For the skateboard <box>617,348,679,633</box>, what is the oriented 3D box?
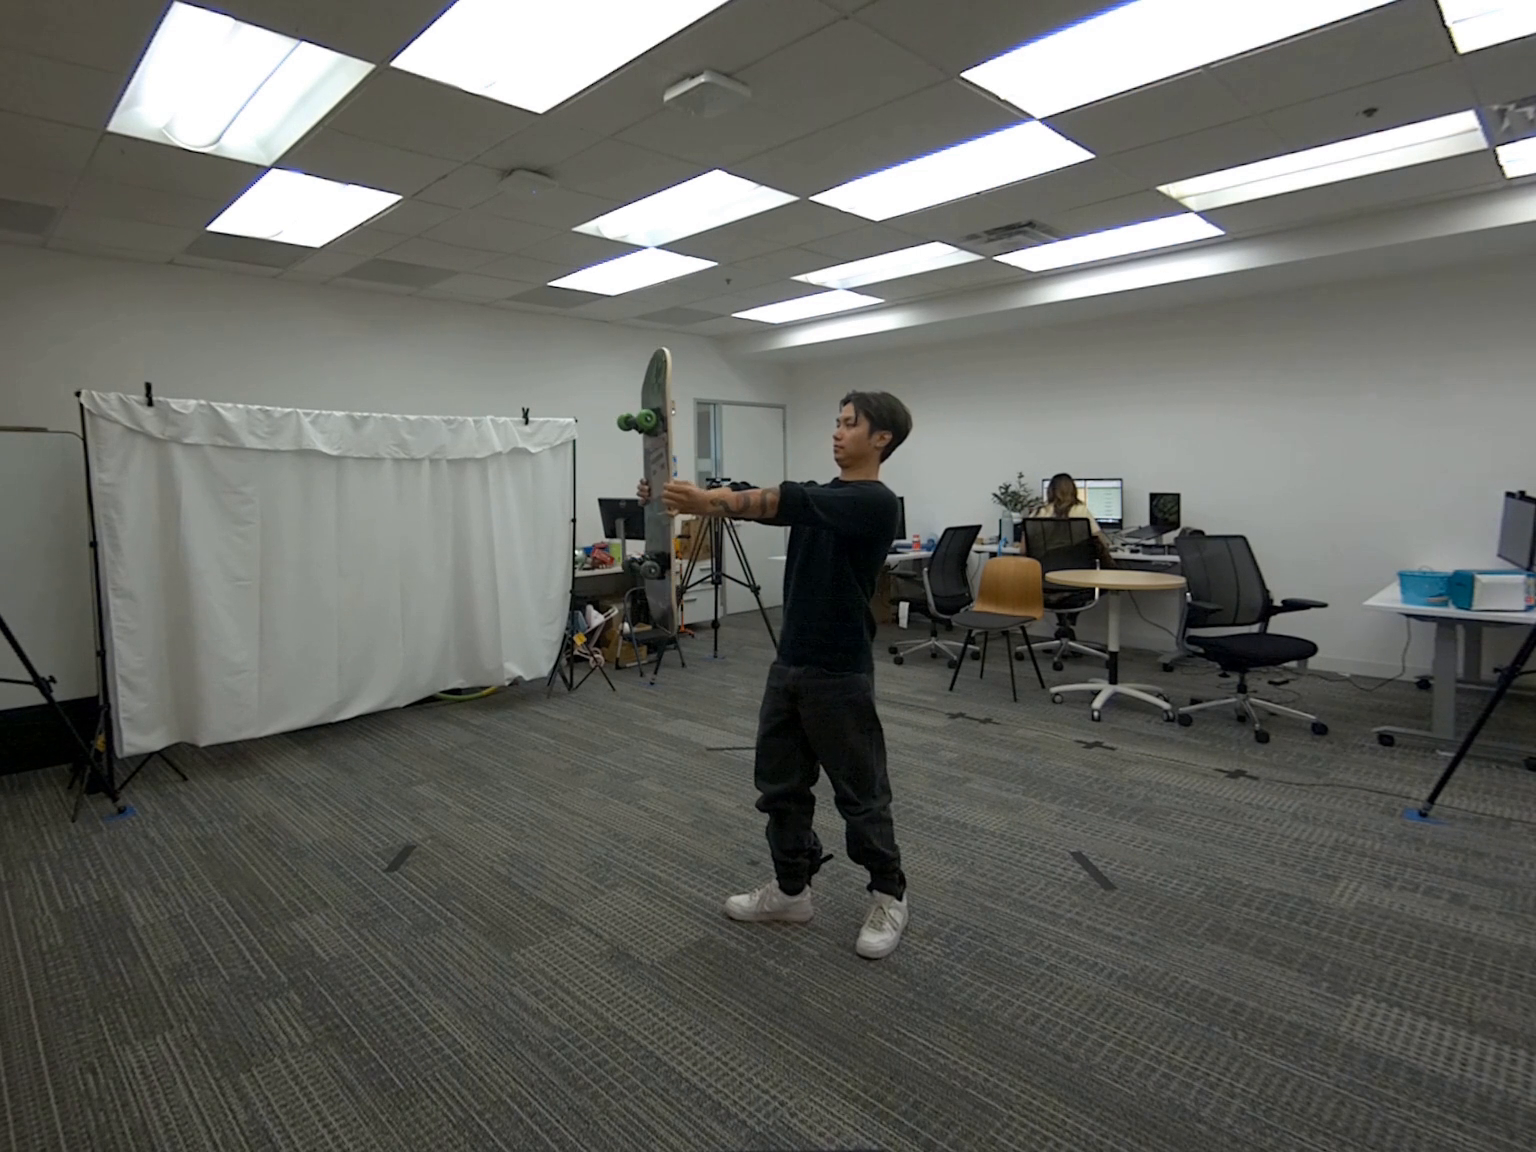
[{"bbox_3d":[-0.323,-0.222,2.330,0.108,0.781,0.199,-4,6,-28],"label":"skateboard"}]
